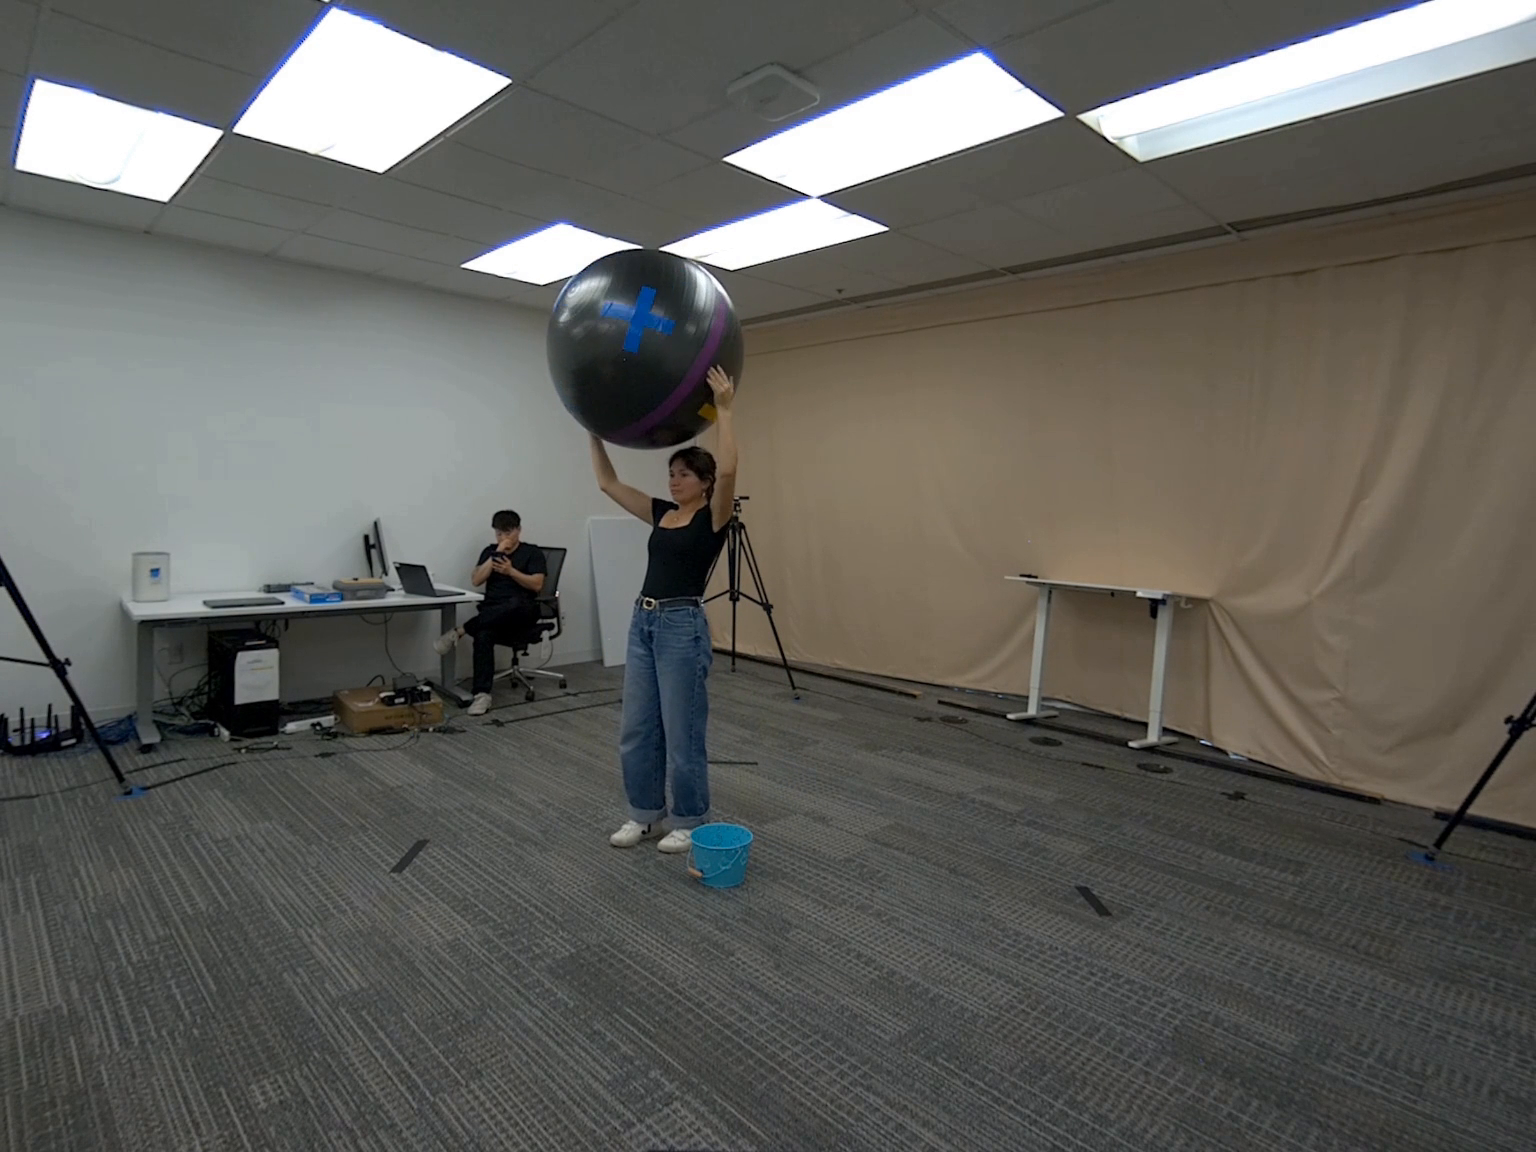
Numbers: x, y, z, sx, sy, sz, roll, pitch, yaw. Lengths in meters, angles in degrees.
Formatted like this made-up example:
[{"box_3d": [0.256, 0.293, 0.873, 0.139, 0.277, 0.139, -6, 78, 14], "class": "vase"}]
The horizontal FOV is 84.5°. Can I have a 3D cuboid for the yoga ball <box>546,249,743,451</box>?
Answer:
[{"box_3d": [-0.473, -0.865, 3.253, 0.757, 0.756, 0.761, 1, 4, -1], "class": "yoga ball"}]
